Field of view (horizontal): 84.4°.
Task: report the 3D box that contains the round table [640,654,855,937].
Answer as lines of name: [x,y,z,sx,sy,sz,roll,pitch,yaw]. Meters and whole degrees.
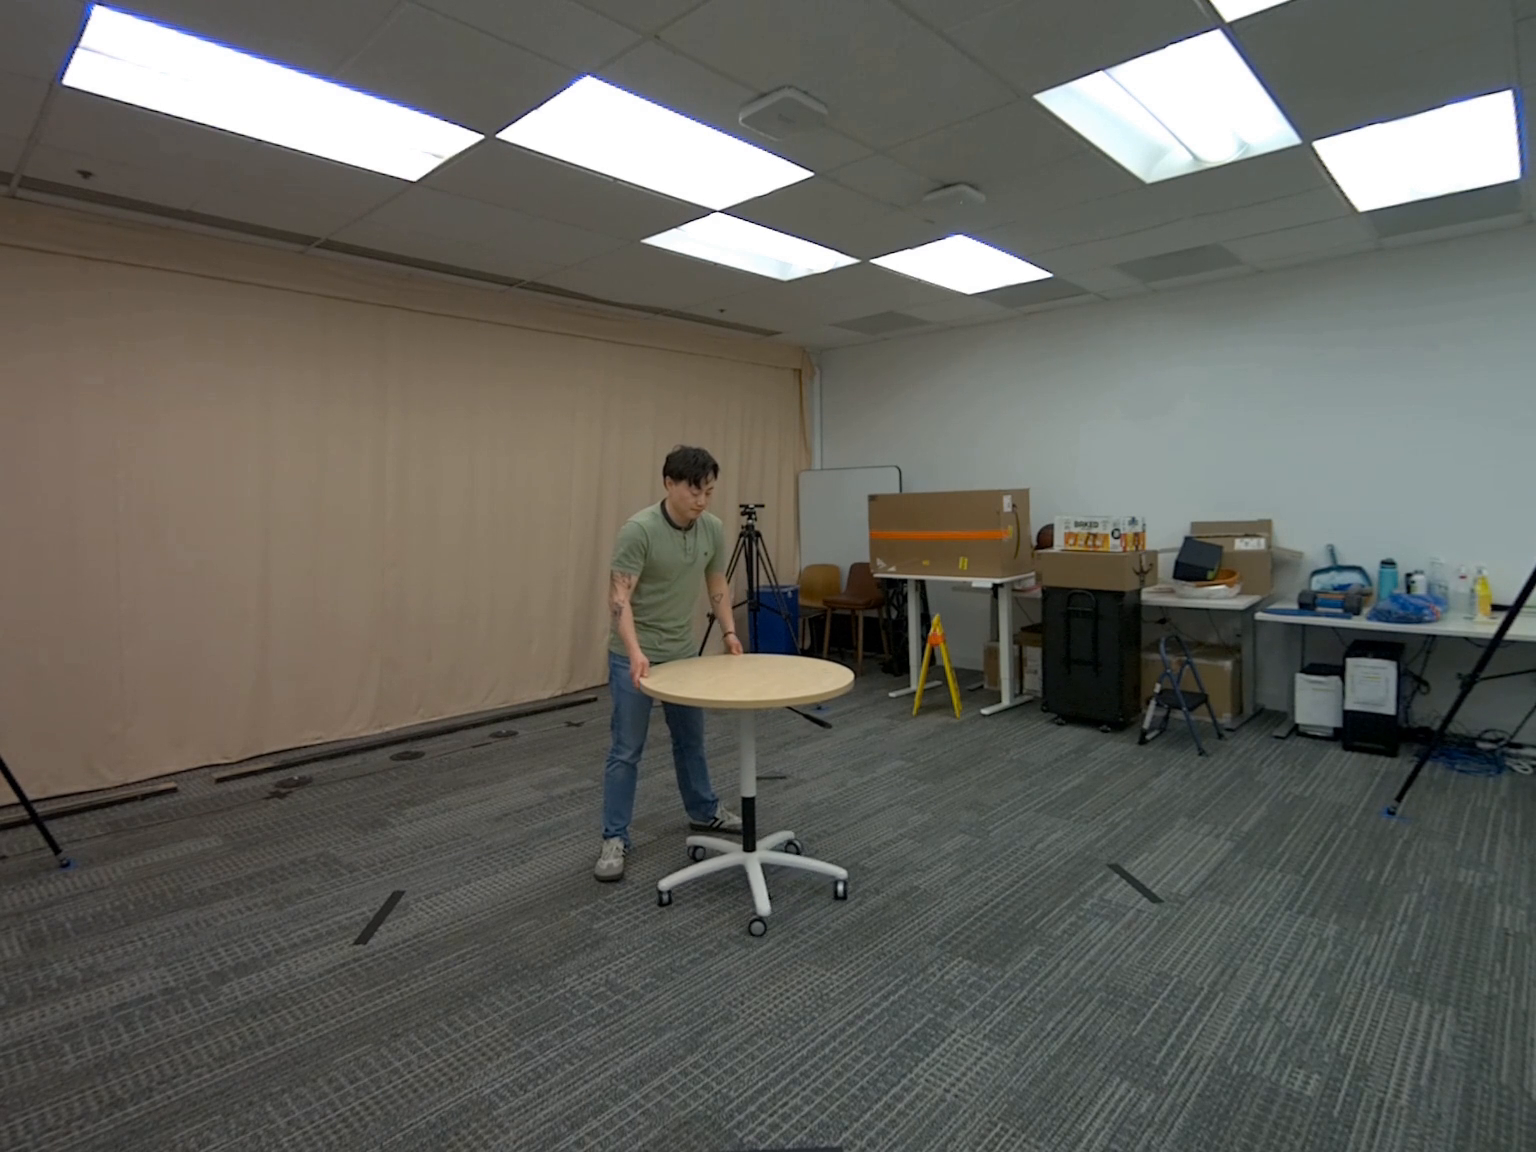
round table: [-0.063,0.746,3.034,0.763,0.792,0.766,-1,4,-2]
